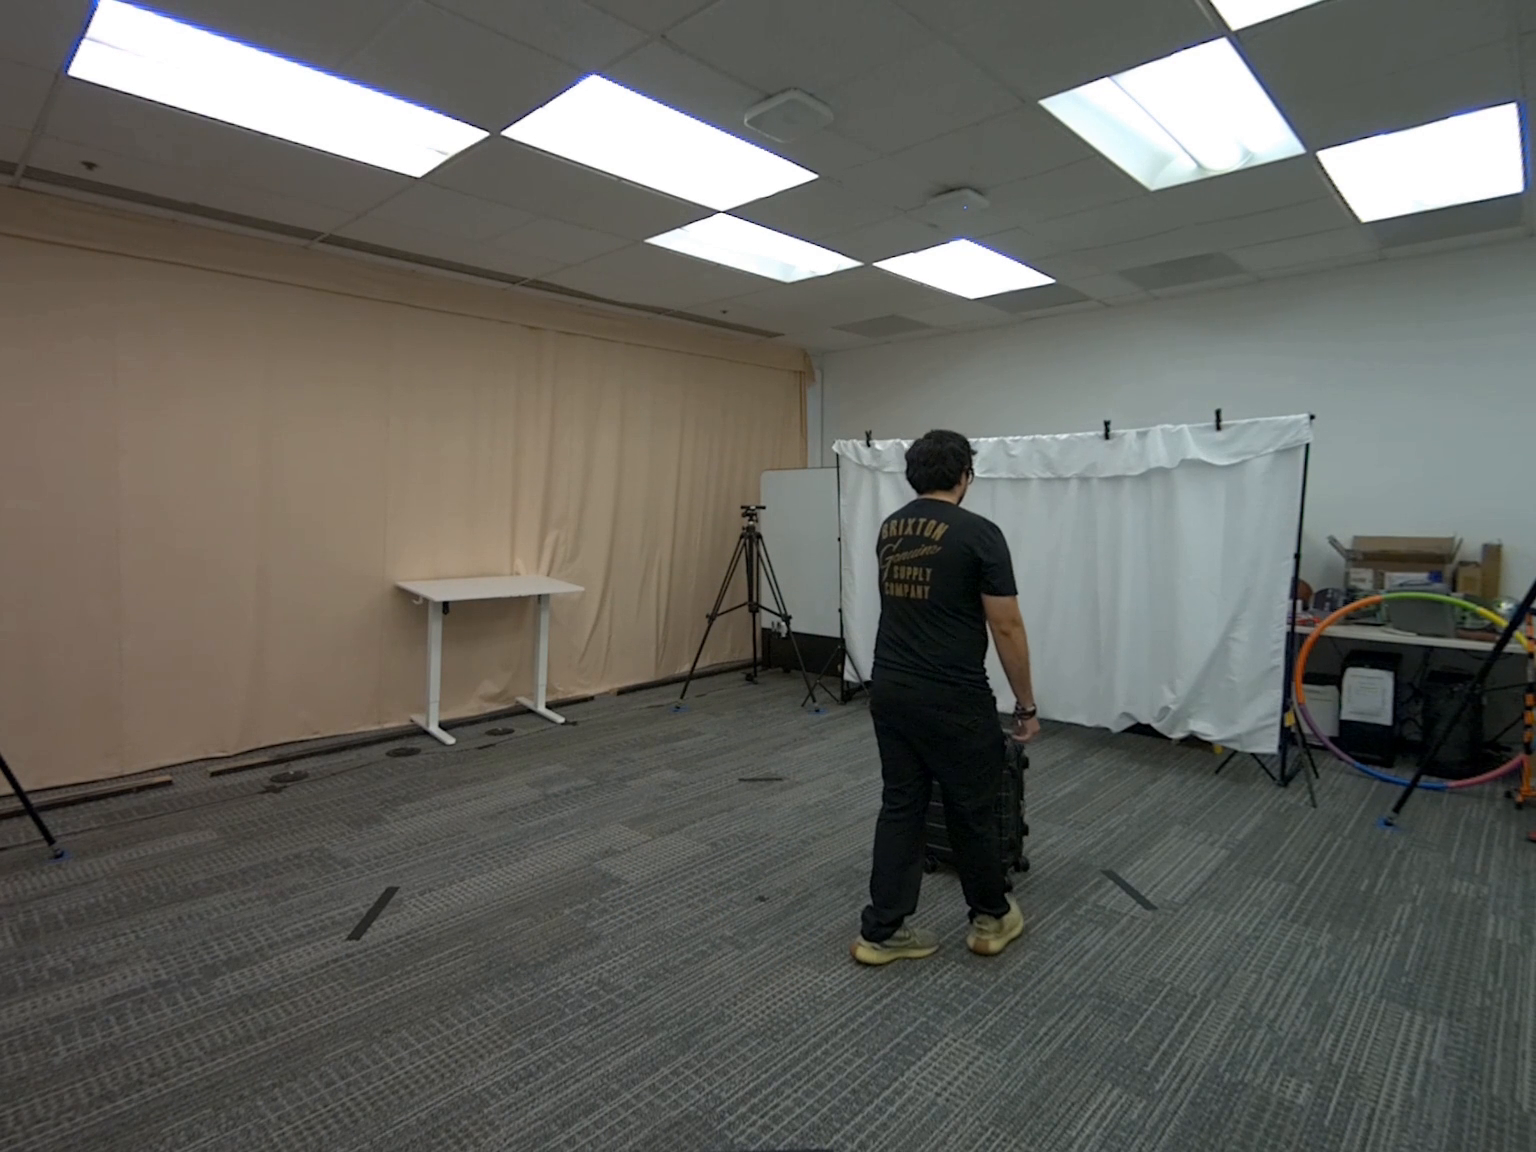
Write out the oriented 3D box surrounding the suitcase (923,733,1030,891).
[{"bbox_3d":[0.795,0.649,3.235,0.395,0.980,0.249,-2,-4,34],"label":"suitcase"}]
